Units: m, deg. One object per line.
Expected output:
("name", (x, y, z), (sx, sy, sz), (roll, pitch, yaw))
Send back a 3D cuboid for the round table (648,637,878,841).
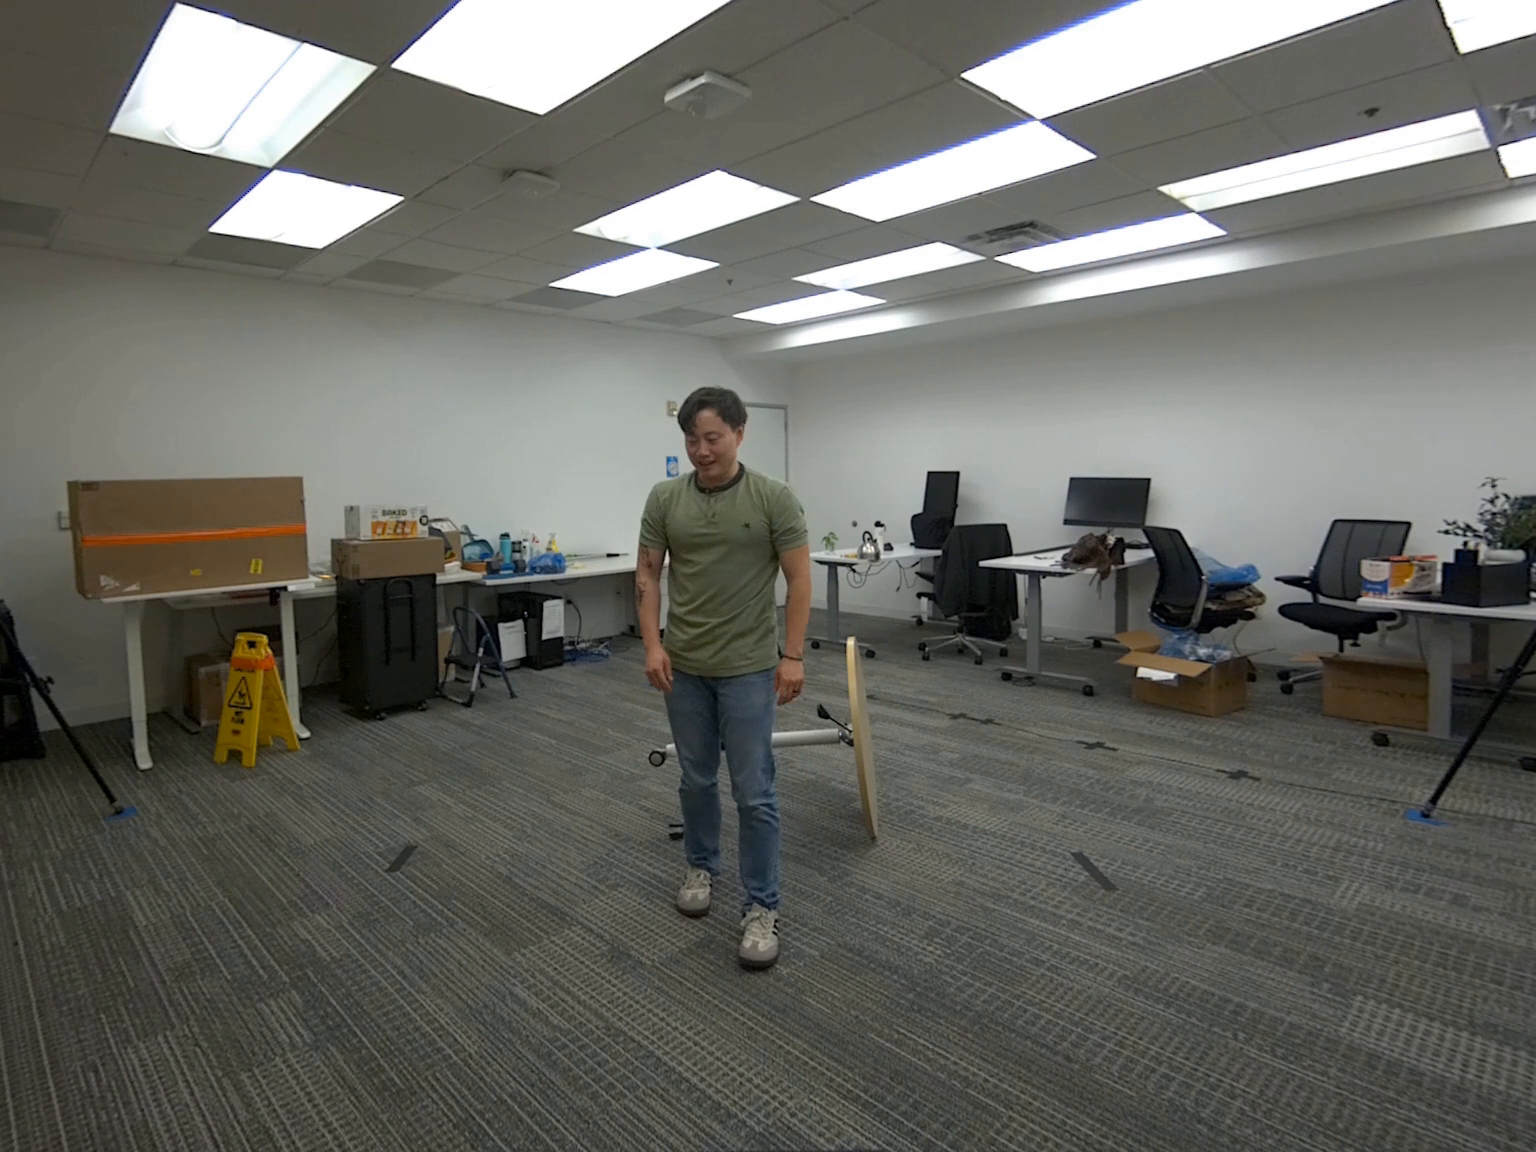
("round table", (-0.006, 0.672, 3.443), (0.800, 0.762, 0.761), (-7, 4, 8))
